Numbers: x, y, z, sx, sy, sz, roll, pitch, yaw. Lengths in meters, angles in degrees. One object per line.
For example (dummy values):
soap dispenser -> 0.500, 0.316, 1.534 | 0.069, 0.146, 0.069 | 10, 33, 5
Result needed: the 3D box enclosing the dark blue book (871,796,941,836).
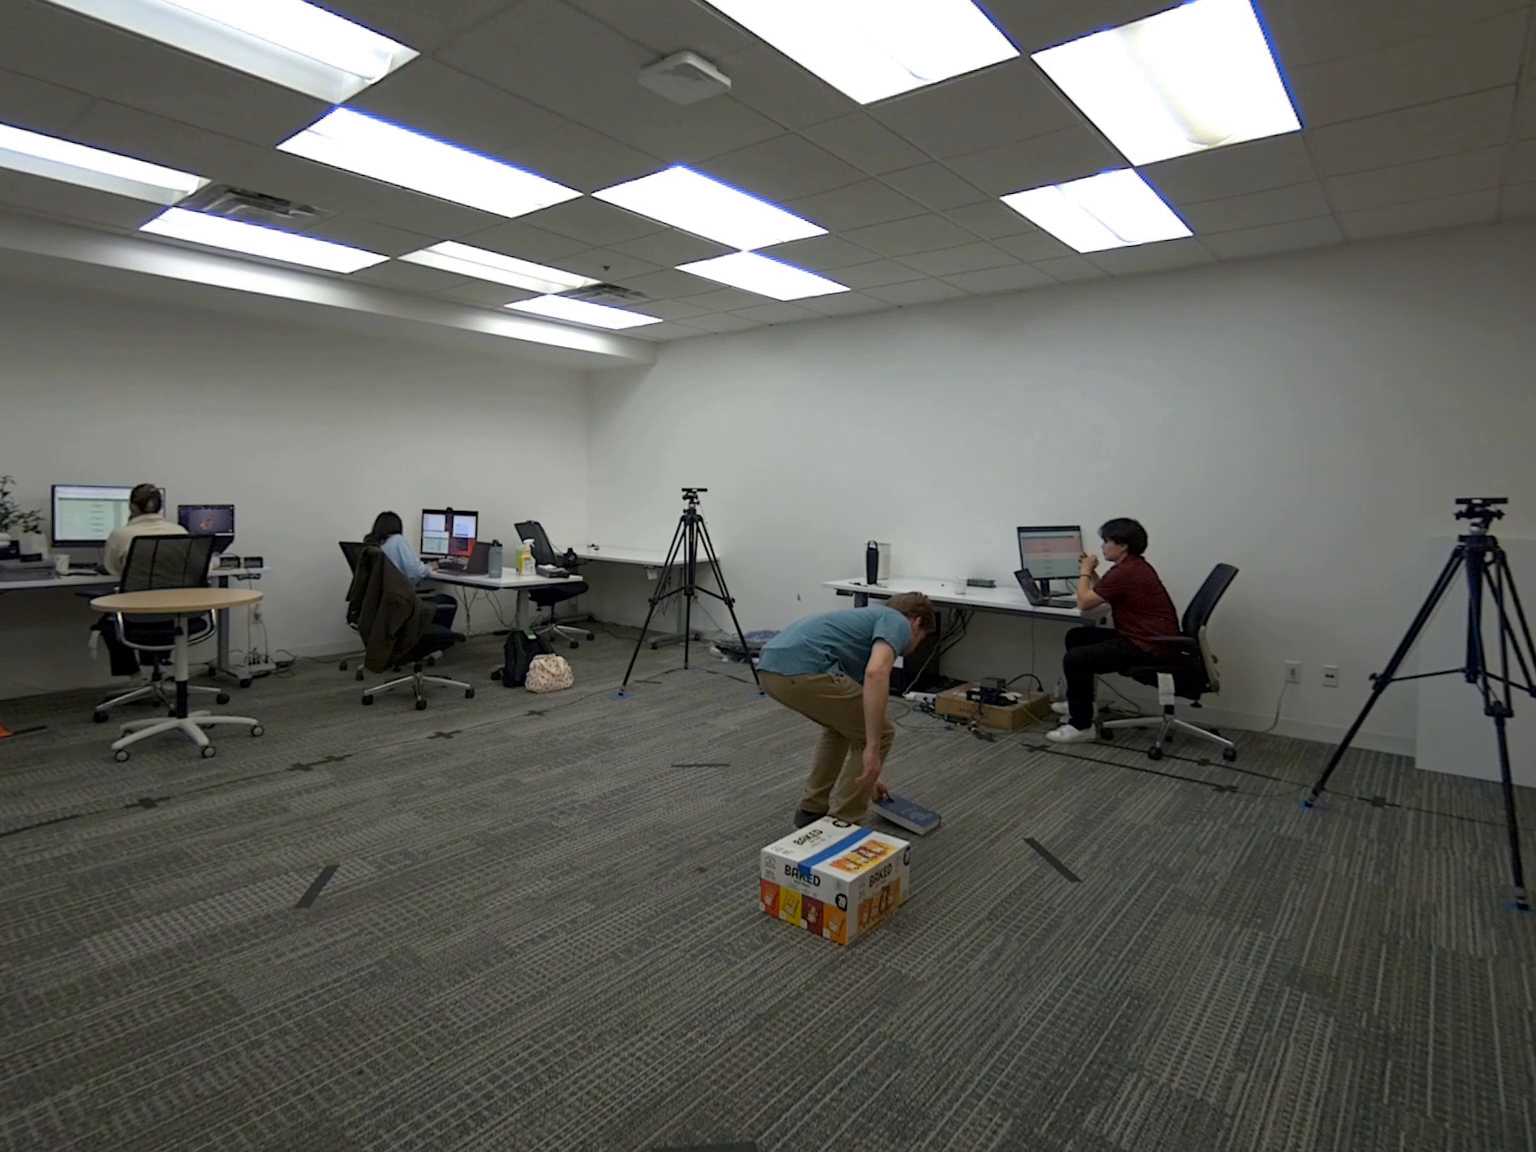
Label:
dark blue book -> 0.580, 1.003, 3.581 | 0.254, 0.045, 0.159 | 17, 14, 36
